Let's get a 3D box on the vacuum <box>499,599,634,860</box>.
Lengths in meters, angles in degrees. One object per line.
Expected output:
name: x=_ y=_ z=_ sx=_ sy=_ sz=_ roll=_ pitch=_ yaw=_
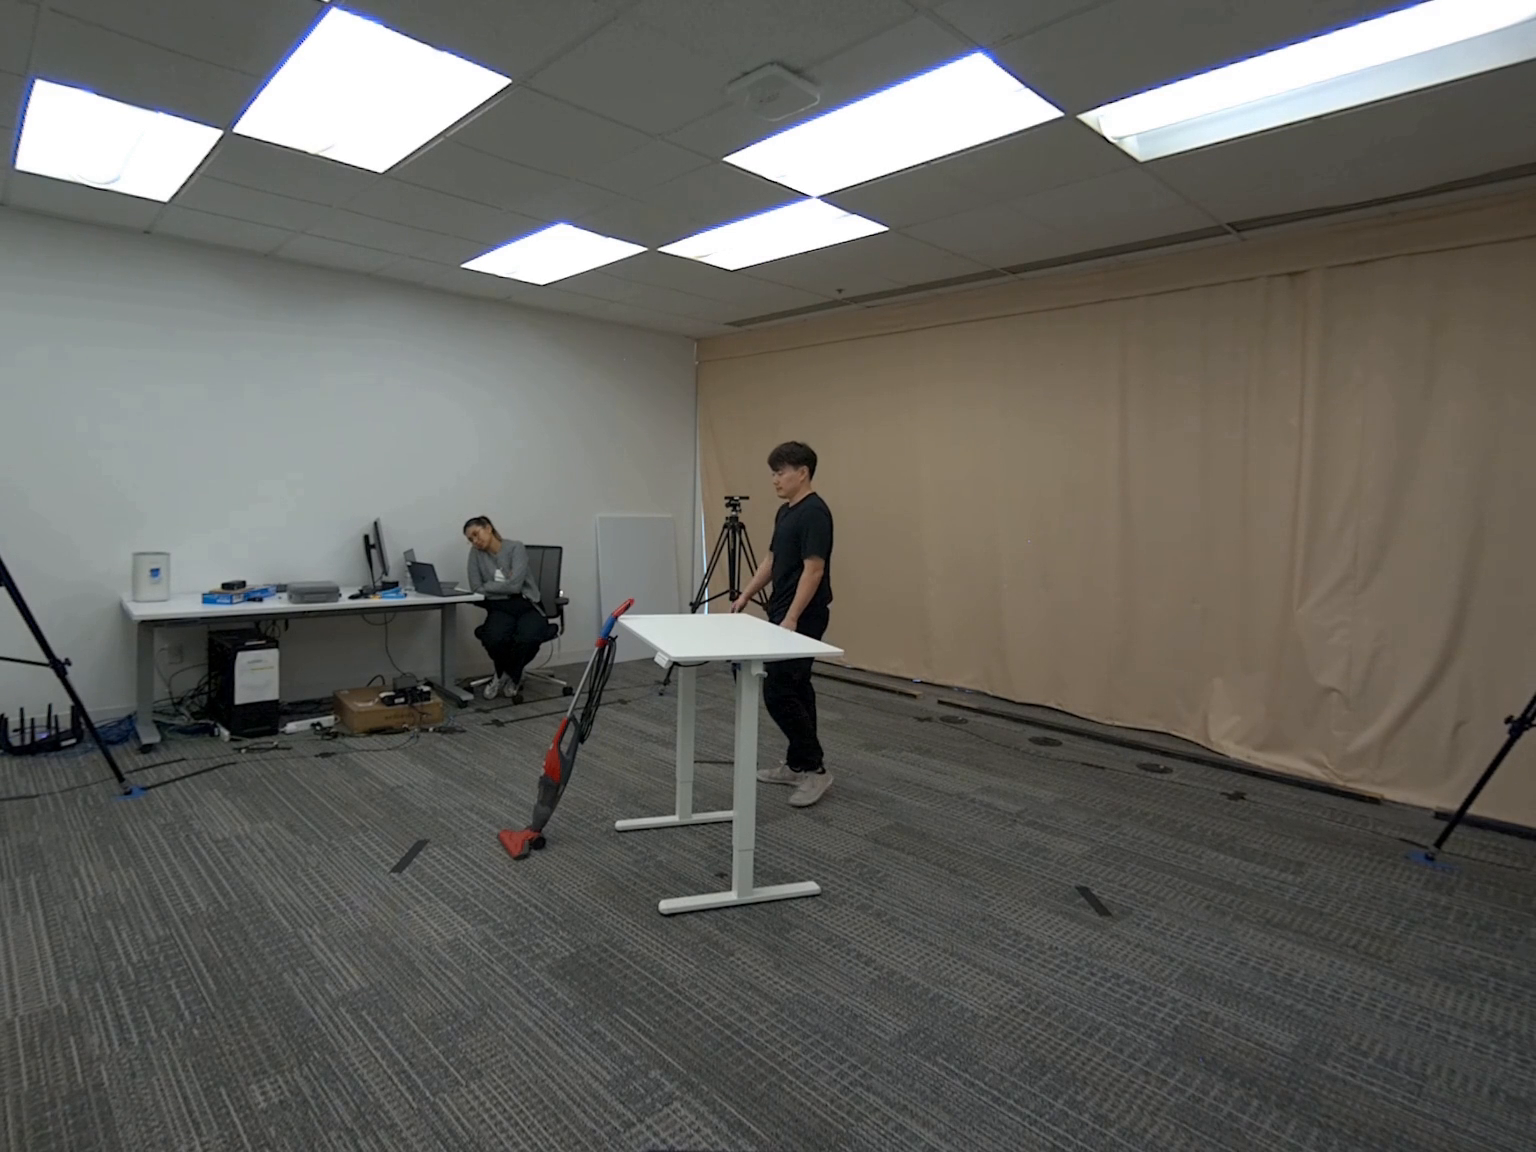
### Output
vacuum: x=-0.782 y=0.582 z=3.411 sx=0.140 sy=1.053 sz=0.259 roll=29 pitch=-12 yaw=-36
